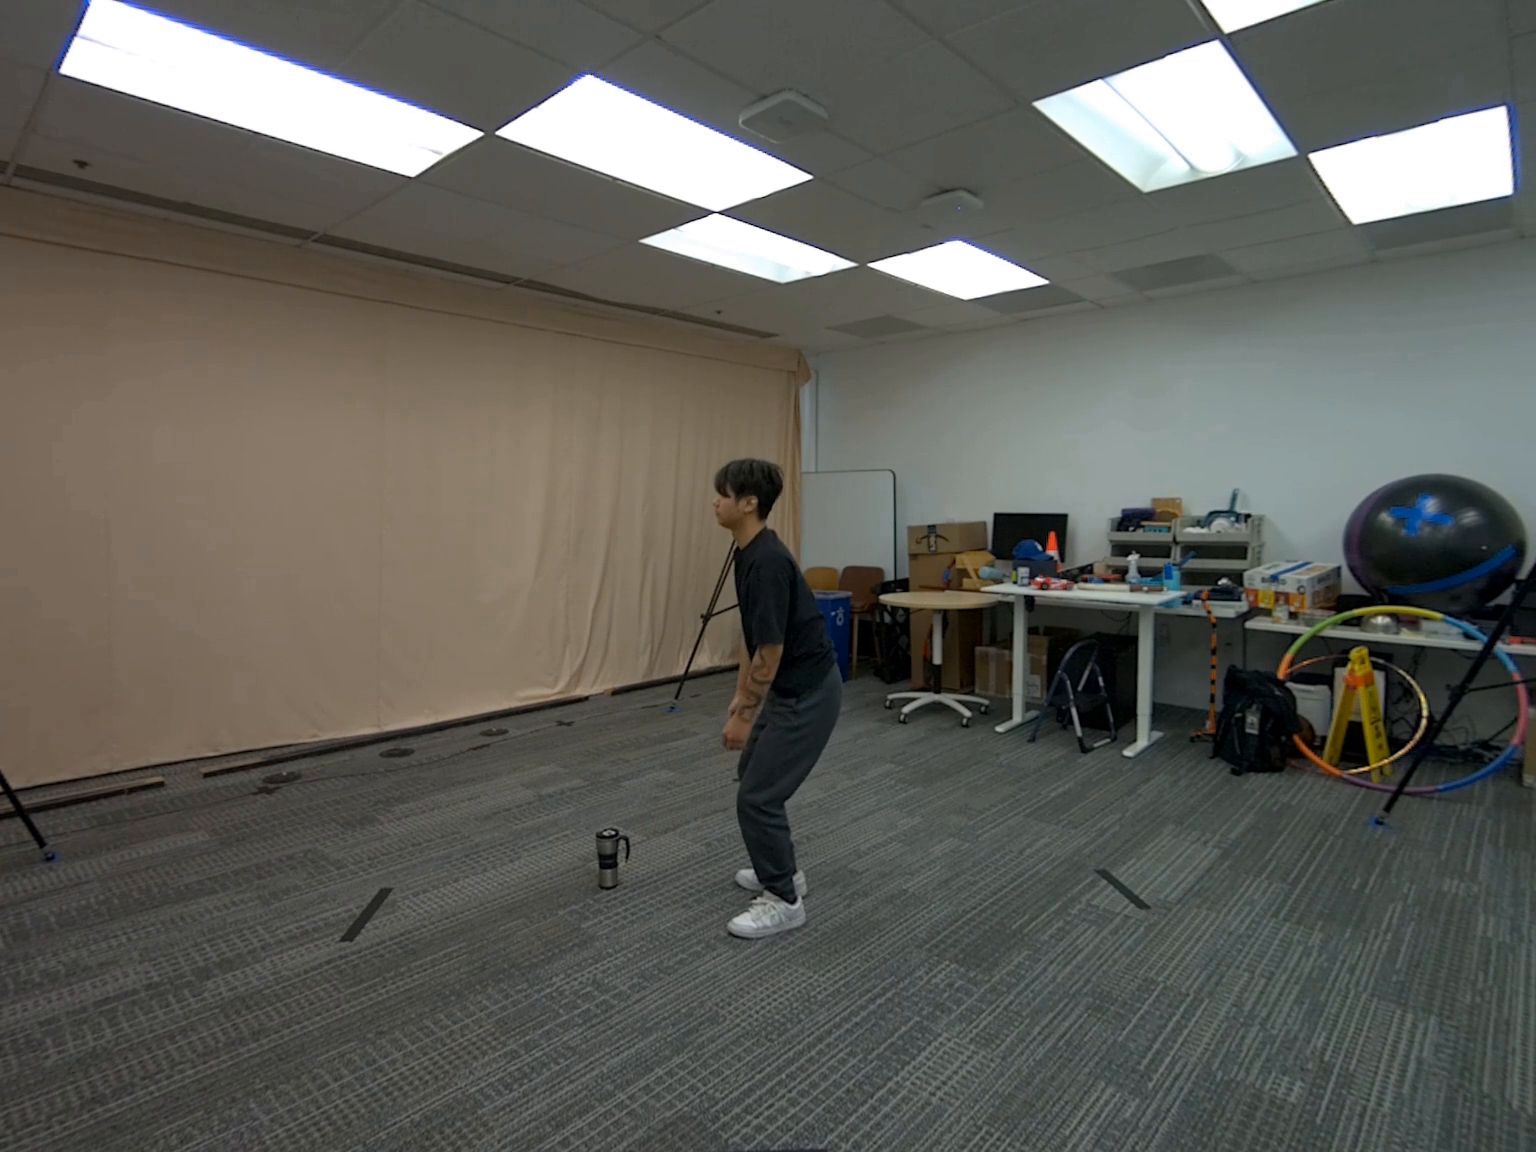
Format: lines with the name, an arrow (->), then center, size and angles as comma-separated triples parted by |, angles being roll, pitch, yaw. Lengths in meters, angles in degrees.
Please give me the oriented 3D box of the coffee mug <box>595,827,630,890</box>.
coffee mug -> -0.573, 1.045, 3.080 | 0.126, 0.203, 0.085 | -3, -2, 41
